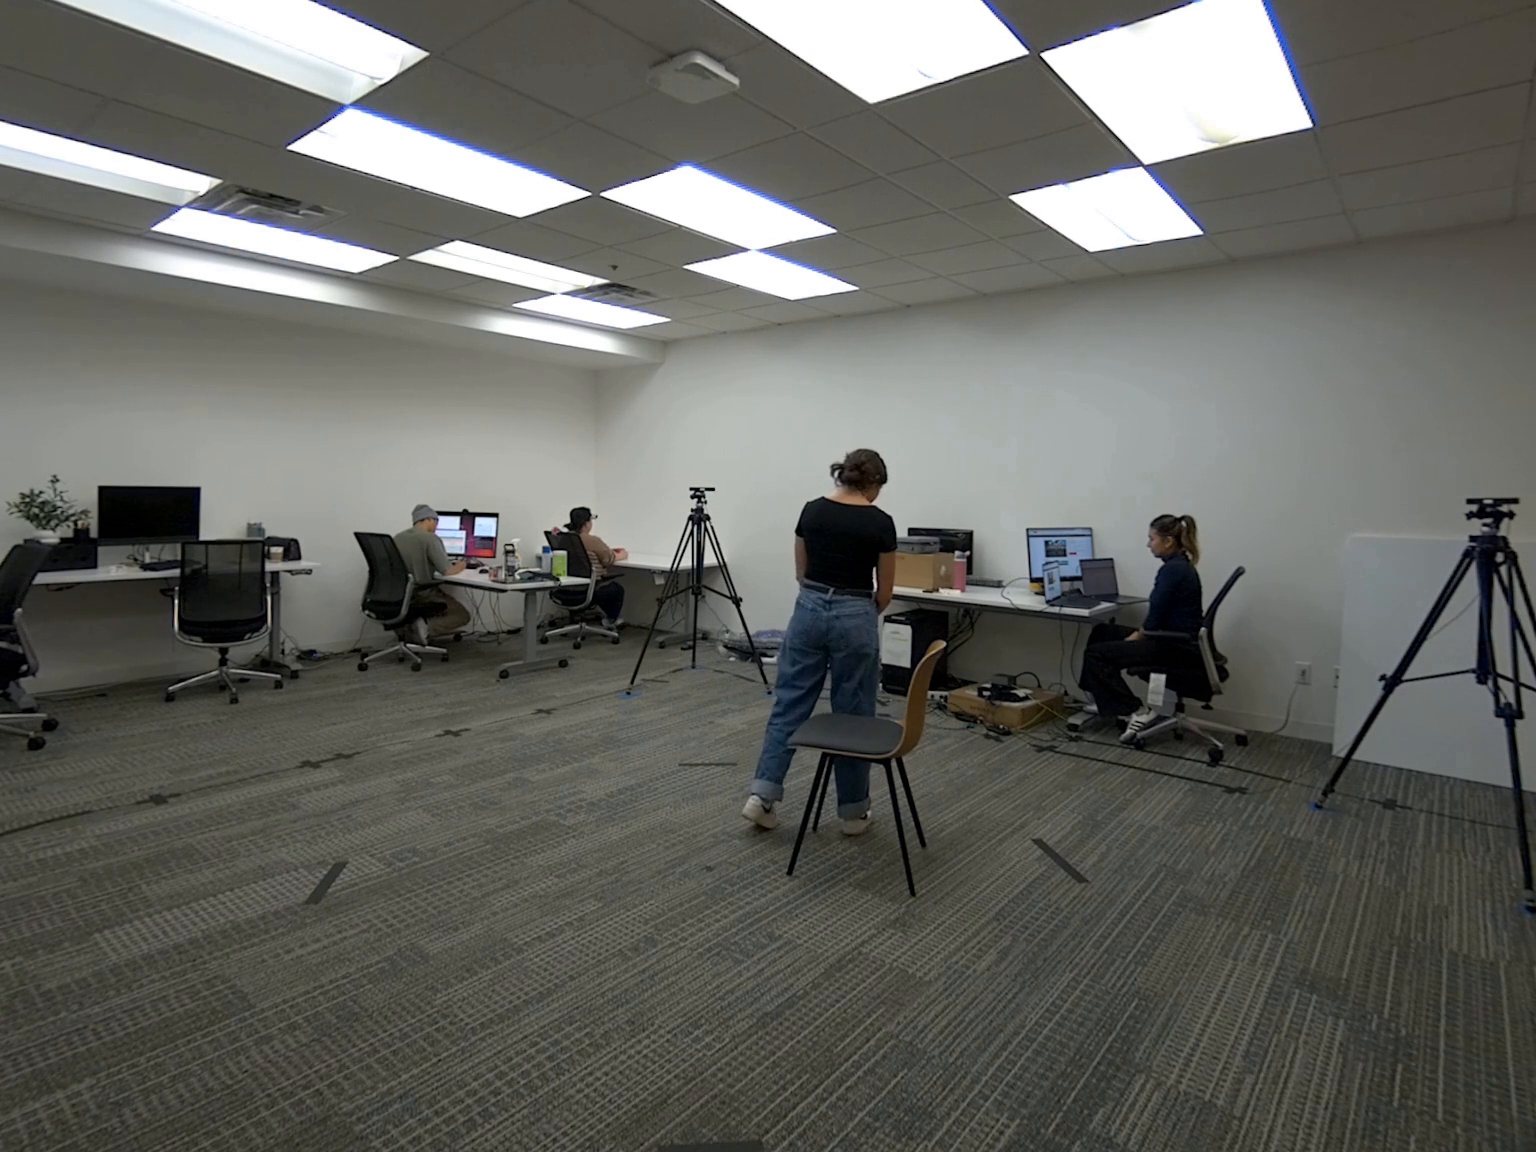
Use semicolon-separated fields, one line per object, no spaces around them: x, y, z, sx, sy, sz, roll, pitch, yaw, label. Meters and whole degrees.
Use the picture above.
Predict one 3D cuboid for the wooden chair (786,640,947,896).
0.344;0.642;3.178;0.533;0.874;0.471;7;4;15;wooden chair
